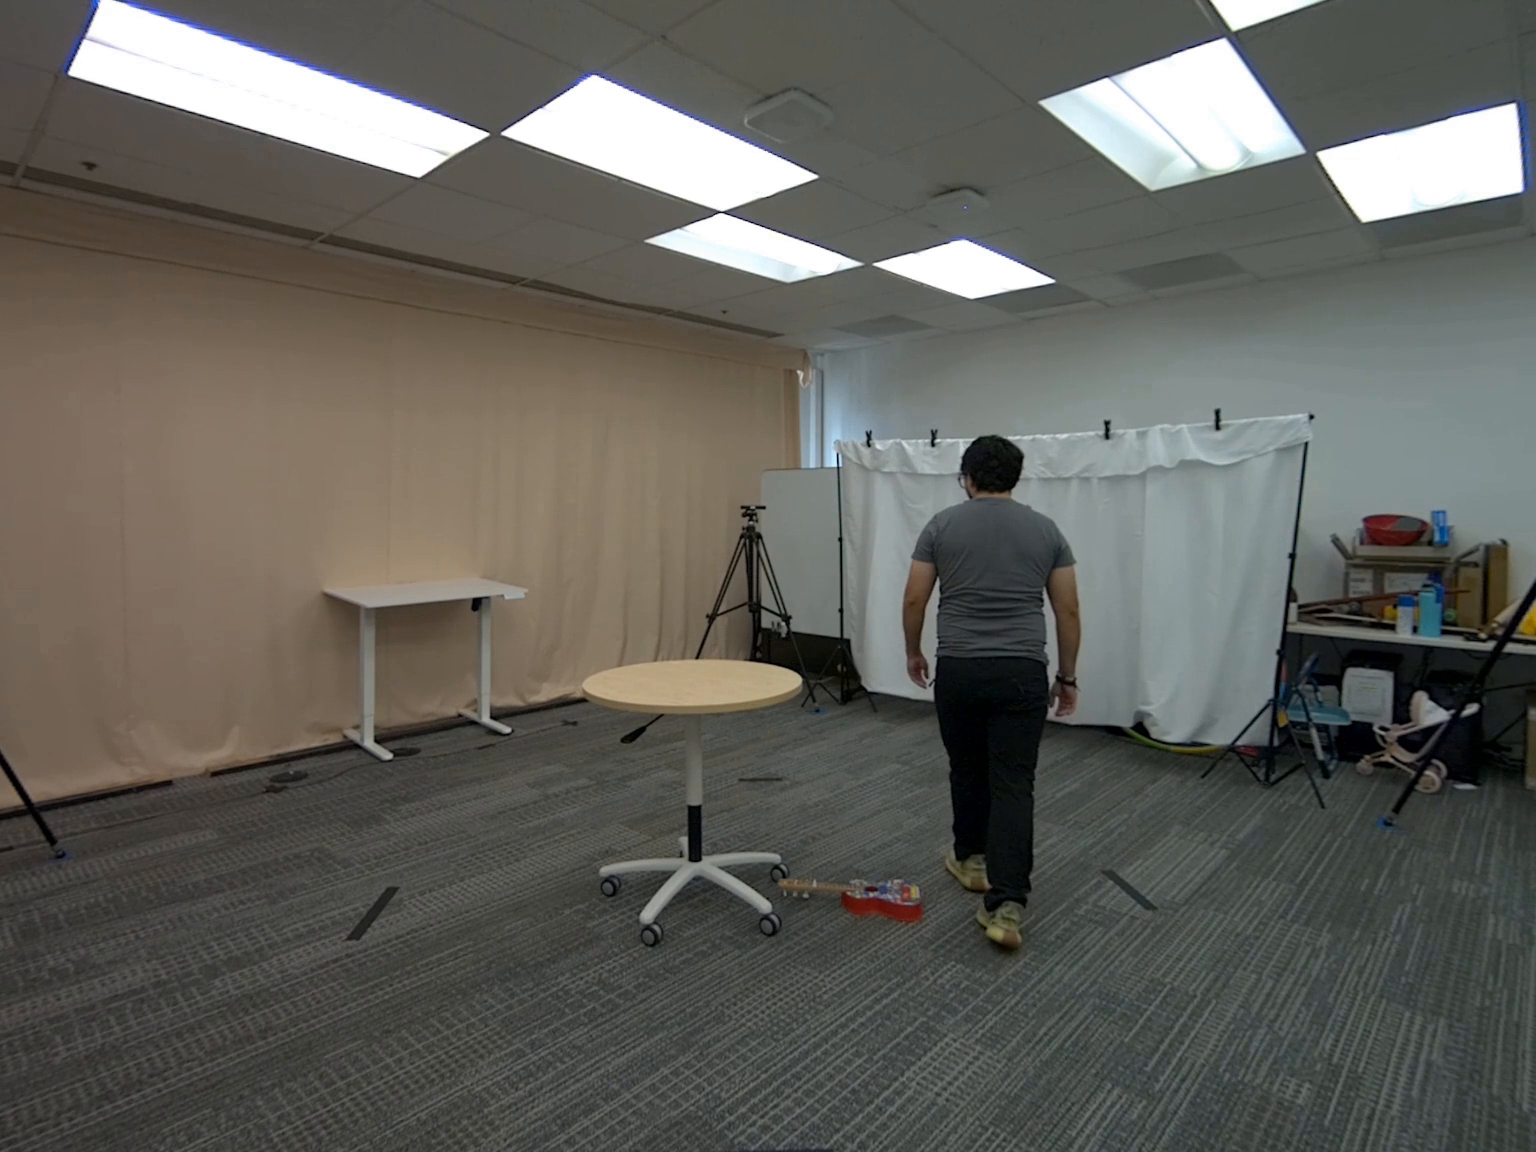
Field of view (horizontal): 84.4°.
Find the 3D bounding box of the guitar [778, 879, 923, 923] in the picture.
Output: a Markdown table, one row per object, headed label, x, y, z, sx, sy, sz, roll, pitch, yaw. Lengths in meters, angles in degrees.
| label | x | y | z | sx | sy | sz | roll | pitch | yaw |
| --- | --- | --- | --- | --- | --- | --- | --- | --- | --- |
| guitar | 0.288 | 1.105 | 2.963 | 0.507 | 0.070 | 0.190 | 2 | 5 | 18 |
